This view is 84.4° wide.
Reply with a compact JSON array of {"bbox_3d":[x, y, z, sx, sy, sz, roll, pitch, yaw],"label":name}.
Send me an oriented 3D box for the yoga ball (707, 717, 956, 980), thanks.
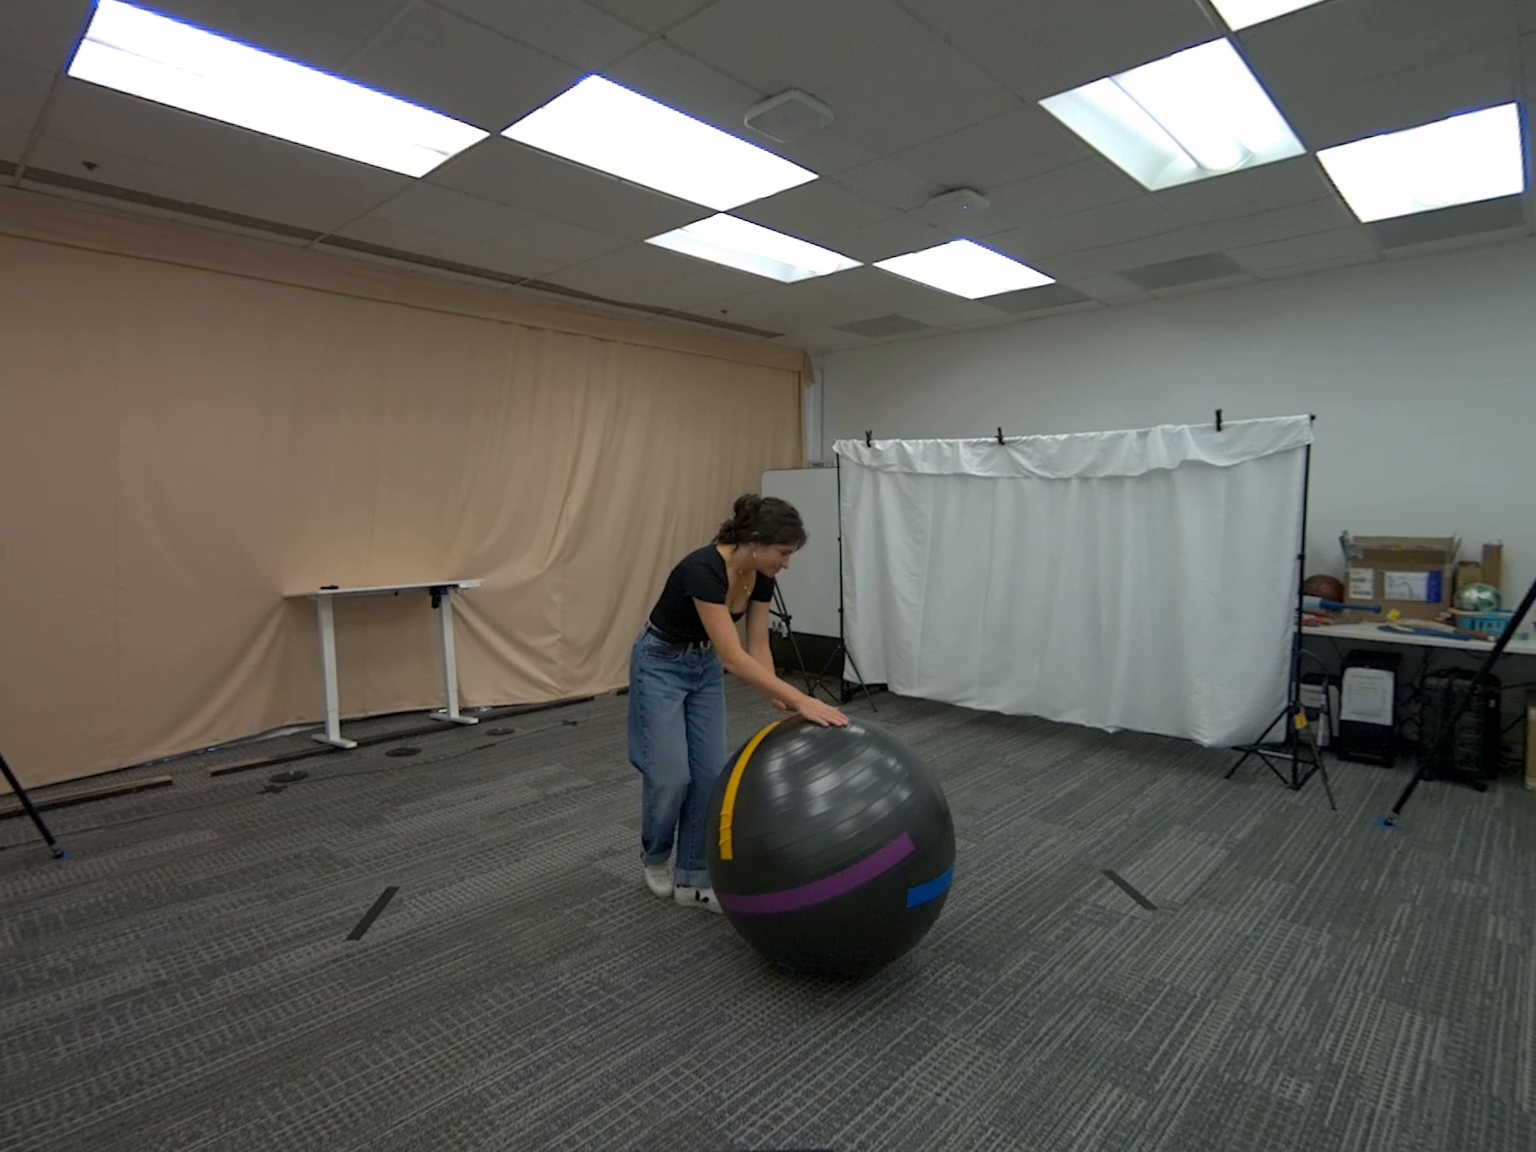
[{"bbox_3d":[0.186,0.808,2.575,0.757,0.756,0.760,0,4,-2],"label":"yoga ball"}]
